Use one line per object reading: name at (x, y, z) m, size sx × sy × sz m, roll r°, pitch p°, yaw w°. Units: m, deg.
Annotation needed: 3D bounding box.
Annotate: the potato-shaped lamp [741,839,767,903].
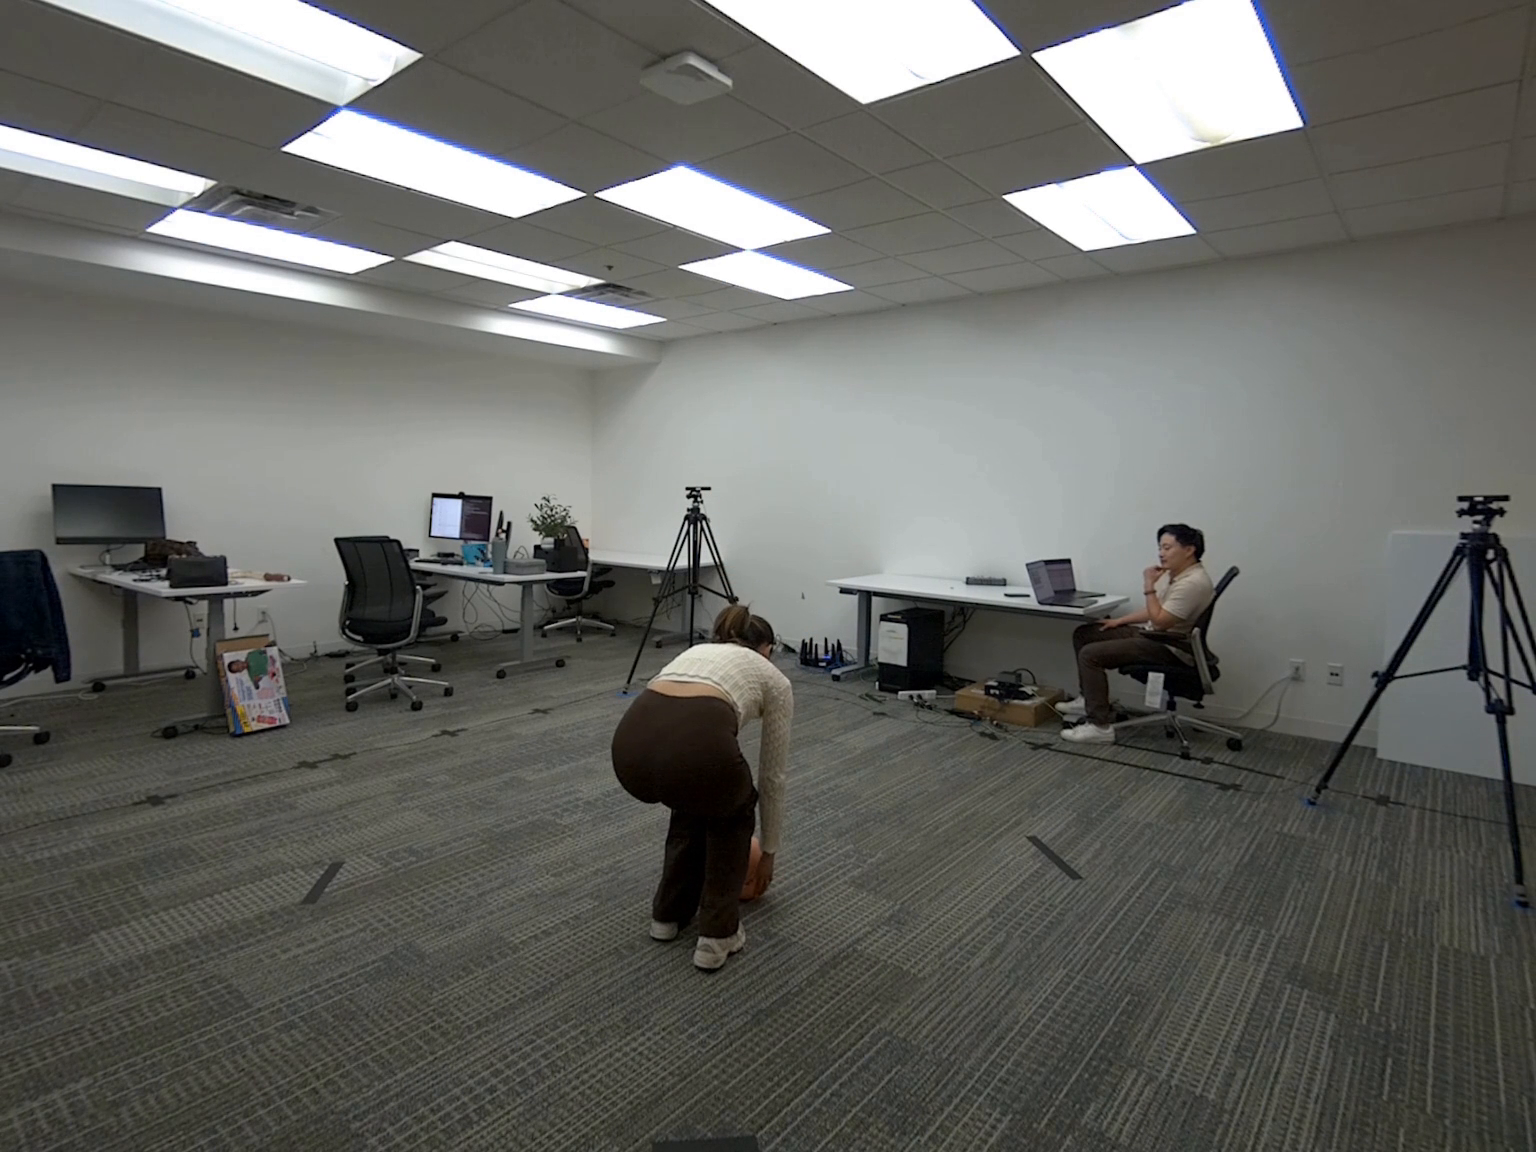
potato-shaped lamp at (-0.094, 0.970, 2.907) m, size 0.176 × 0.197 × 0.161 m, roll 2°, pitch 7°, yaw 26°
